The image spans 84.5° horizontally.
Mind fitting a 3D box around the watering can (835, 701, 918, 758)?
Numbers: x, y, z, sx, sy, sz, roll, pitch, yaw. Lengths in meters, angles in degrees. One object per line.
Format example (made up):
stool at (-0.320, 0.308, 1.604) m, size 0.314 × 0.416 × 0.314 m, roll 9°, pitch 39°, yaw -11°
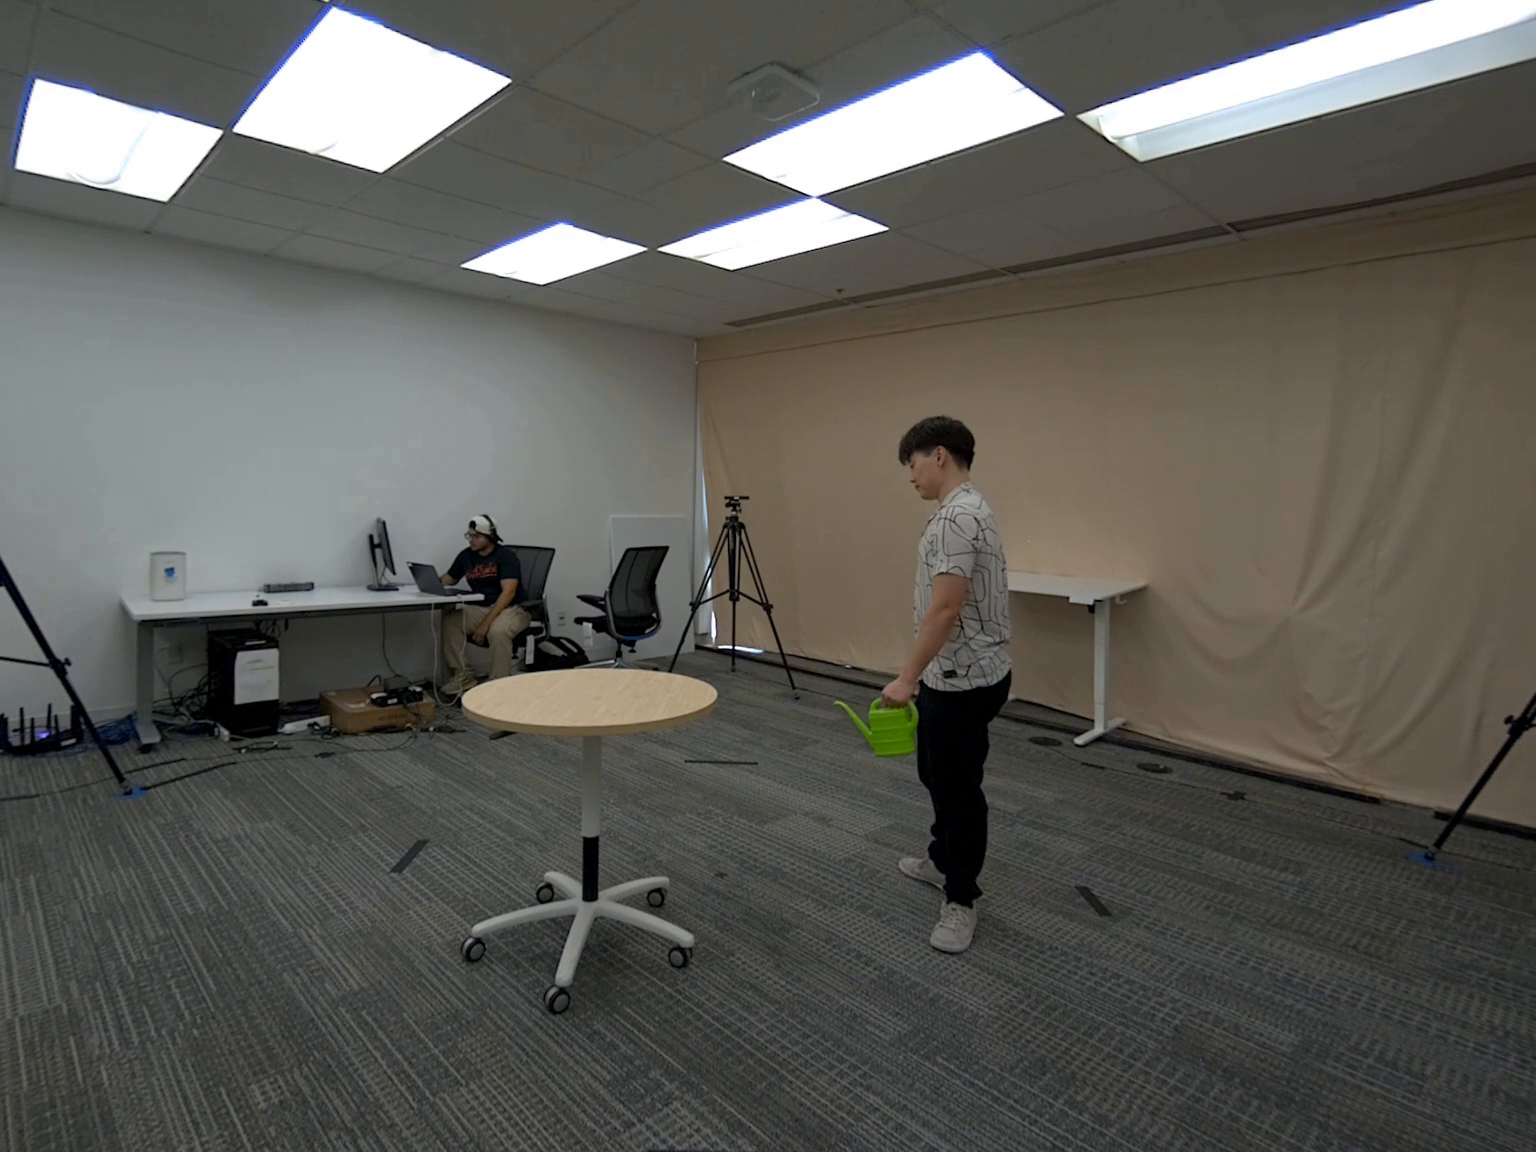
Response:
watering can at (0.358, 0.465, 2.599) m, size 0.096 × 0.178 × 0.282 m, roll -5°, pitch -9°, yaw -38°
